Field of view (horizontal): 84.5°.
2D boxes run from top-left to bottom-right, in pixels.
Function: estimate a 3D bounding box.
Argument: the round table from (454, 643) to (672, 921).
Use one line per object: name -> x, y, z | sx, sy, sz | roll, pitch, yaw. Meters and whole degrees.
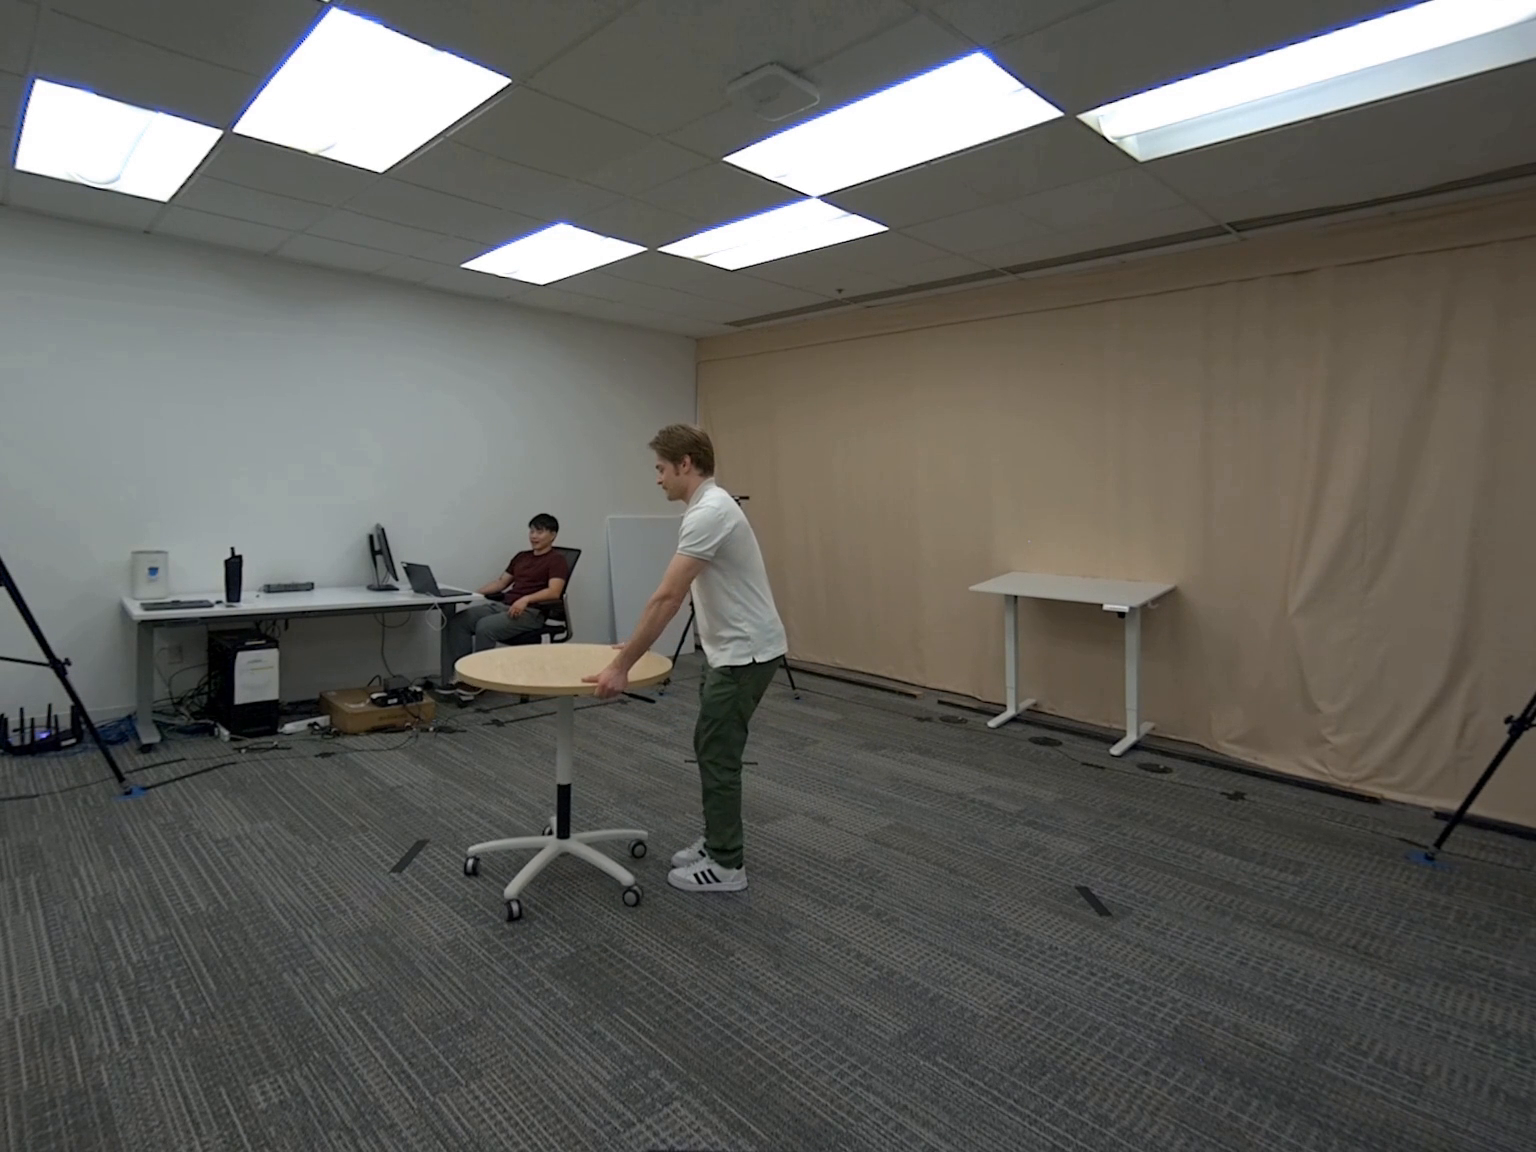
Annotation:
round table -> -0.736, 0.703, 3.056 | 0.763, 0.792, 0.767 | 1, 4, -1
